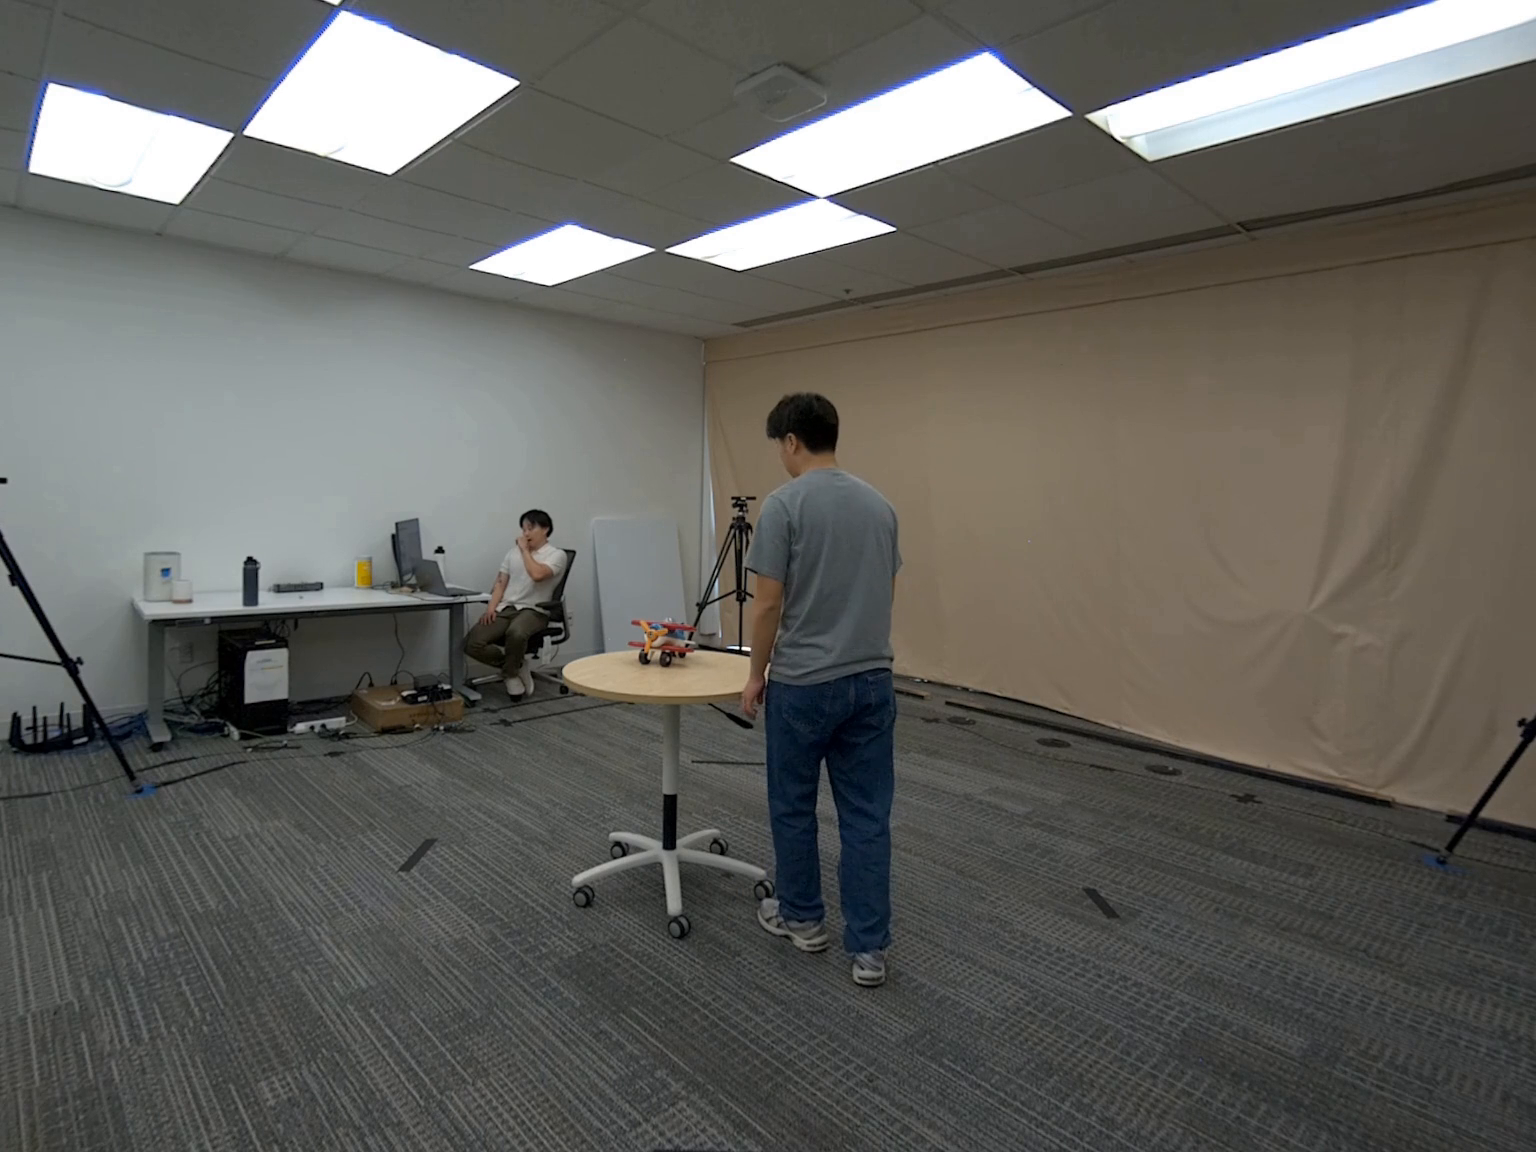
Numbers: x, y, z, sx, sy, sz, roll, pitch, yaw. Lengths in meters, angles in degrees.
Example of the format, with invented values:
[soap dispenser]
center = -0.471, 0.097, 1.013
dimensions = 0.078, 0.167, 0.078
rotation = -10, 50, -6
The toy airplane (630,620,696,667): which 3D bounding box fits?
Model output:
[toy airplane]
center = -0.401, 0.239, 3.107
dimensions = 0.249, 0.156, 0.262
rotation = 2, 5, -8
